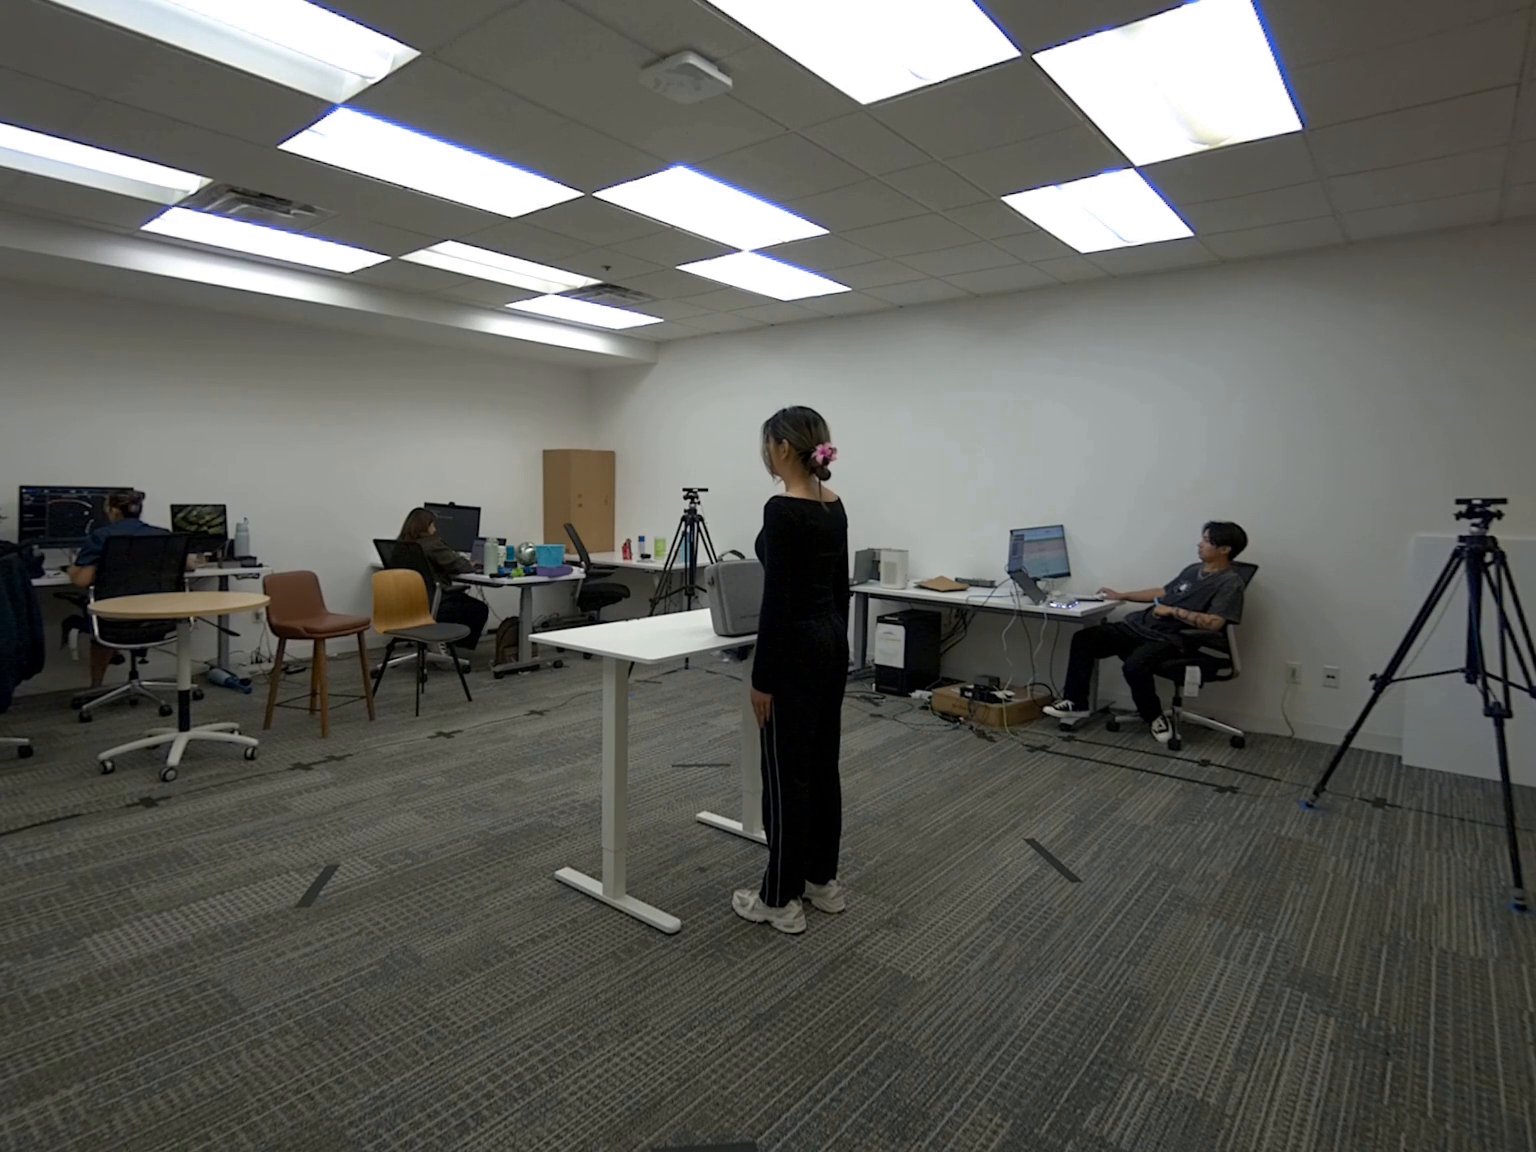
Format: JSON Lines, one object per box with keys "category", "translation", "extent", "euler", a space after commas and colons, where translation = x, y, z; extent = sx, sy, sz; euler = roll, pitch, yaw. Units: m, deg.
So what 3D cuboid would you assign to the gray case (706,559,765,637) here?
{"category": "gray case", "translation": [-0.102, 0.066, 2.996], "extent": [0.249, 0.262, 0.107], "euler": [-3, -7, -43]}
